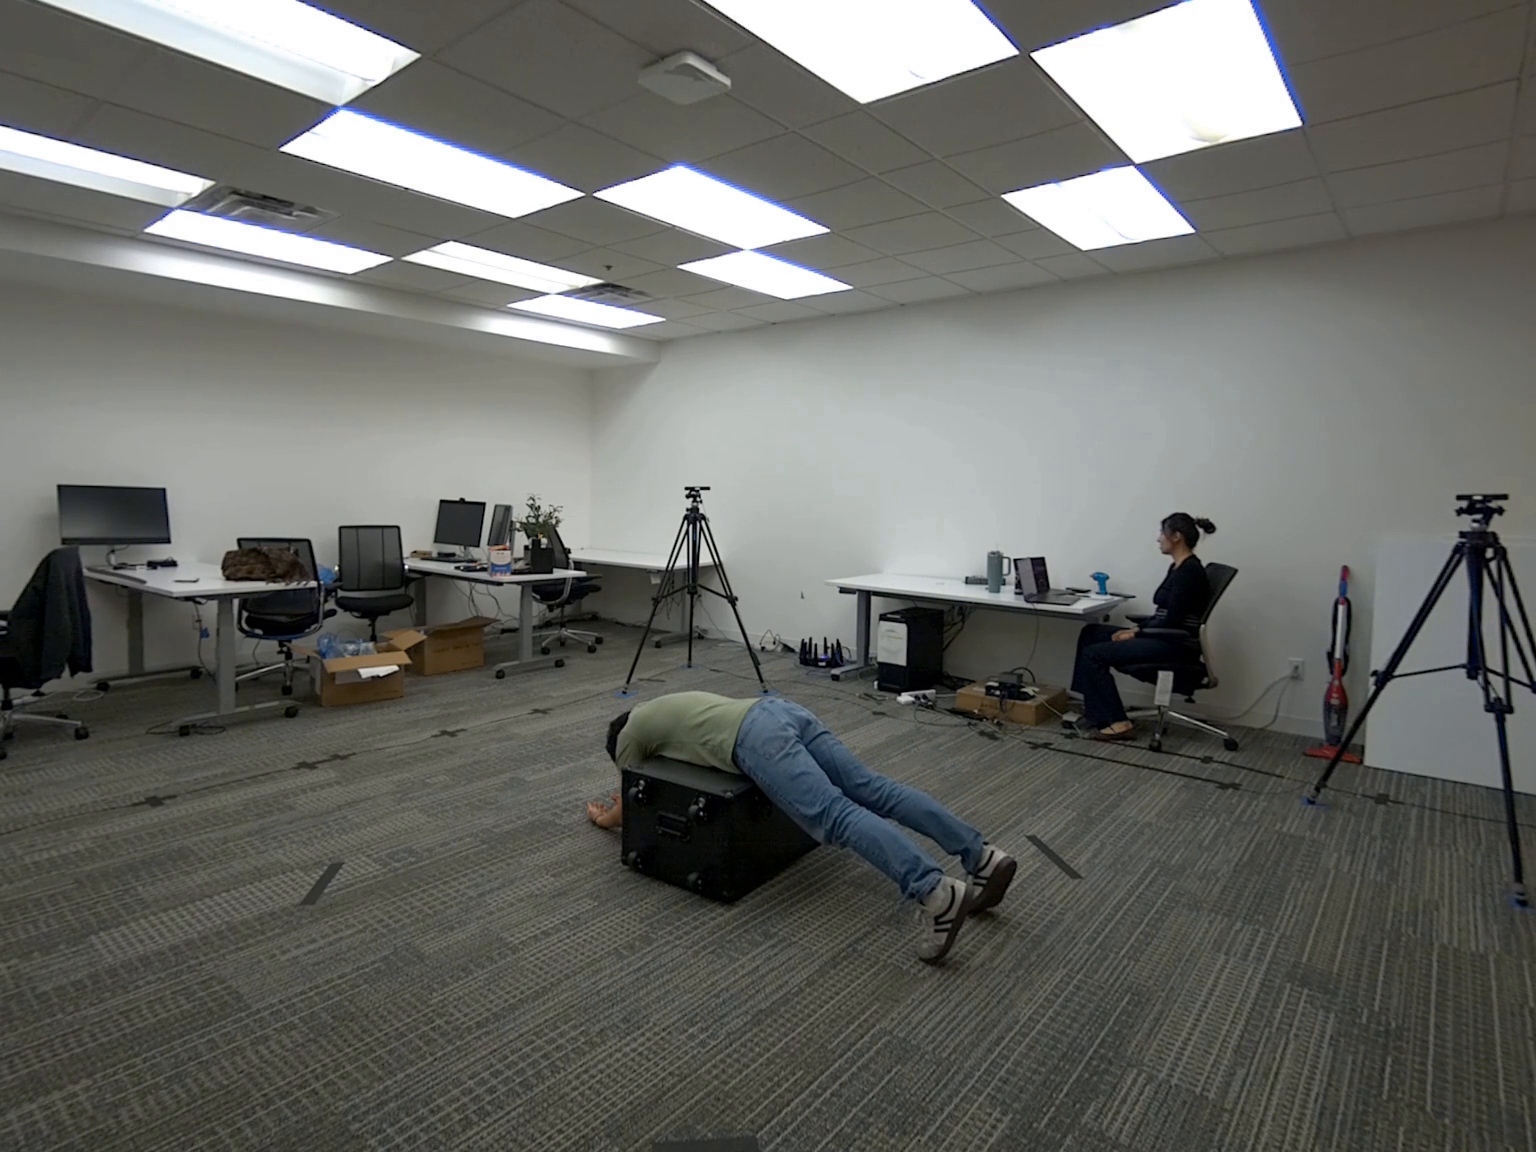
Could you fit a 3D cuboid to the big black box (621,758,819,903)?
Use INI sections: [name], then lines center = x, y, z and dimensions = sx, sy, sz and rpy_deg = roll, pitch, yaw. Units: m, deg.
[big black box]
center = -0.152, 0.874, 3.221
dimensions = 0.537, 0.395, 0.837
rpy_deg = 3, 4, 33
